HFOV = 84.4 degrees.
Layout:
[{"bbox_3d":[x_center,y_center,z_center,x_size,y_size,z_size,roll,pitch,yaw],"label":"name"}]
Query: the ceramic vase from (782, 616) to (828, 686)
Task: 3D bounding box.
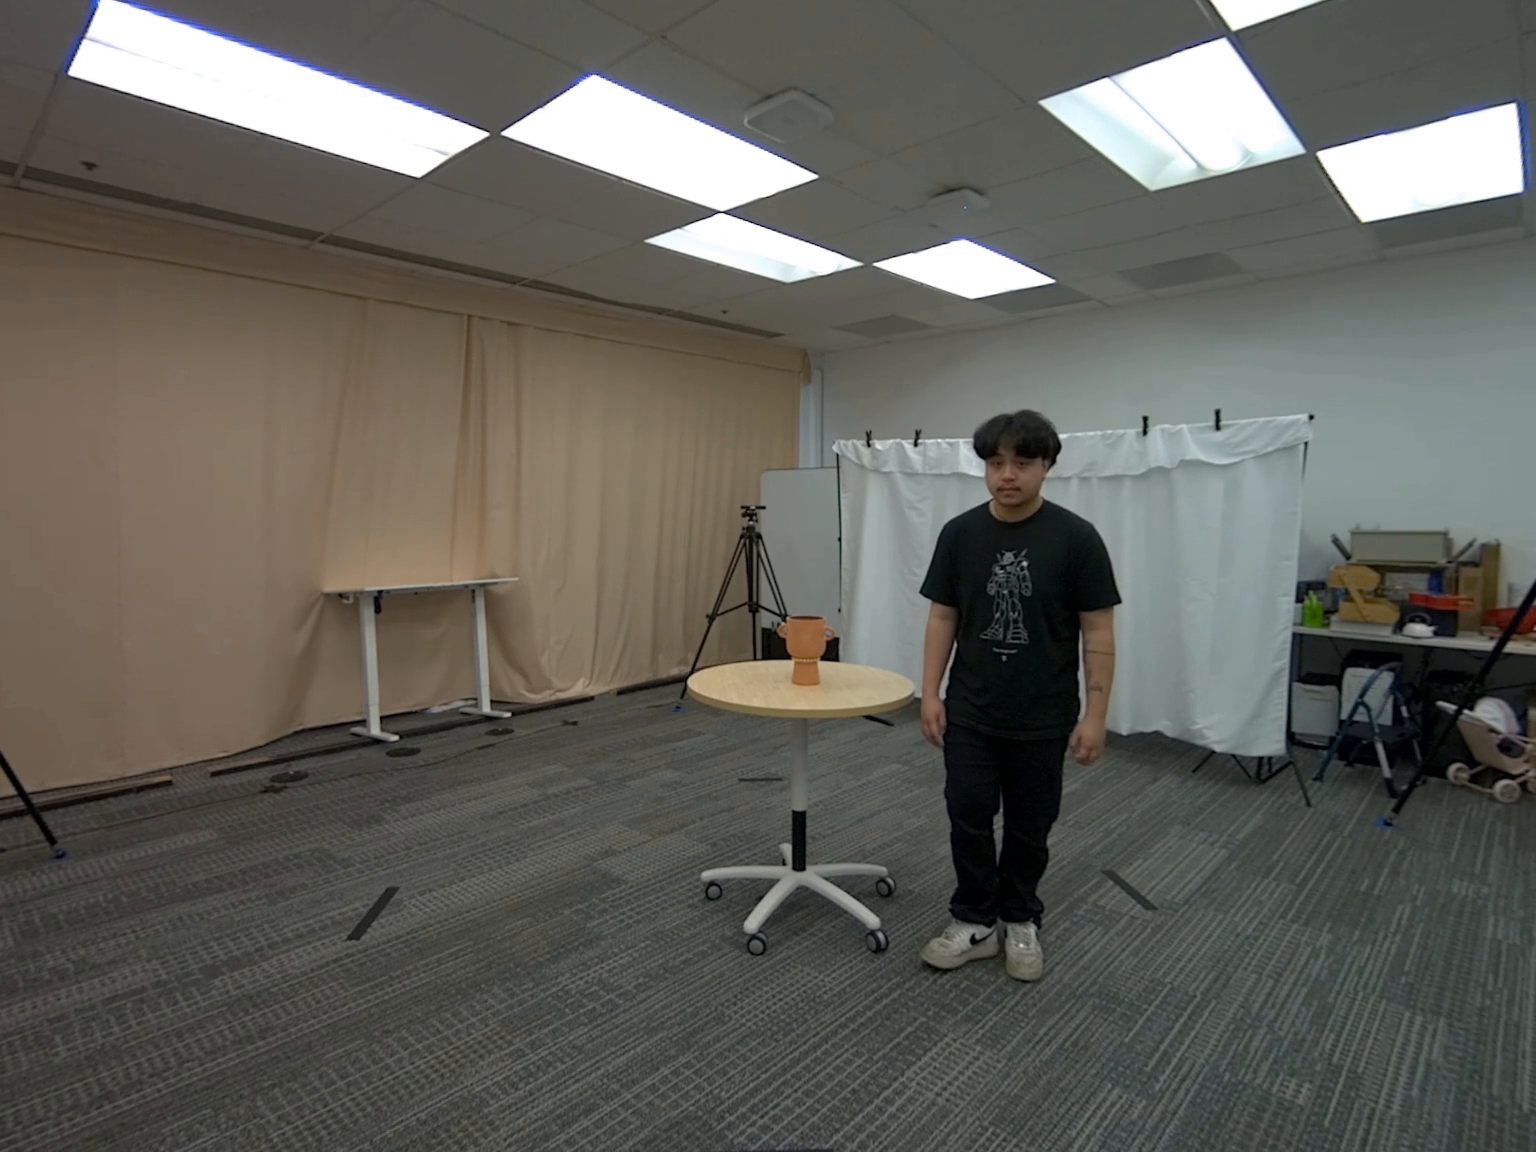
[{"bbox_3d":[0.135,0.254,2.843,0.131,0.219,0.163,-1,4,-31],"label":"ceramic vase"}]
